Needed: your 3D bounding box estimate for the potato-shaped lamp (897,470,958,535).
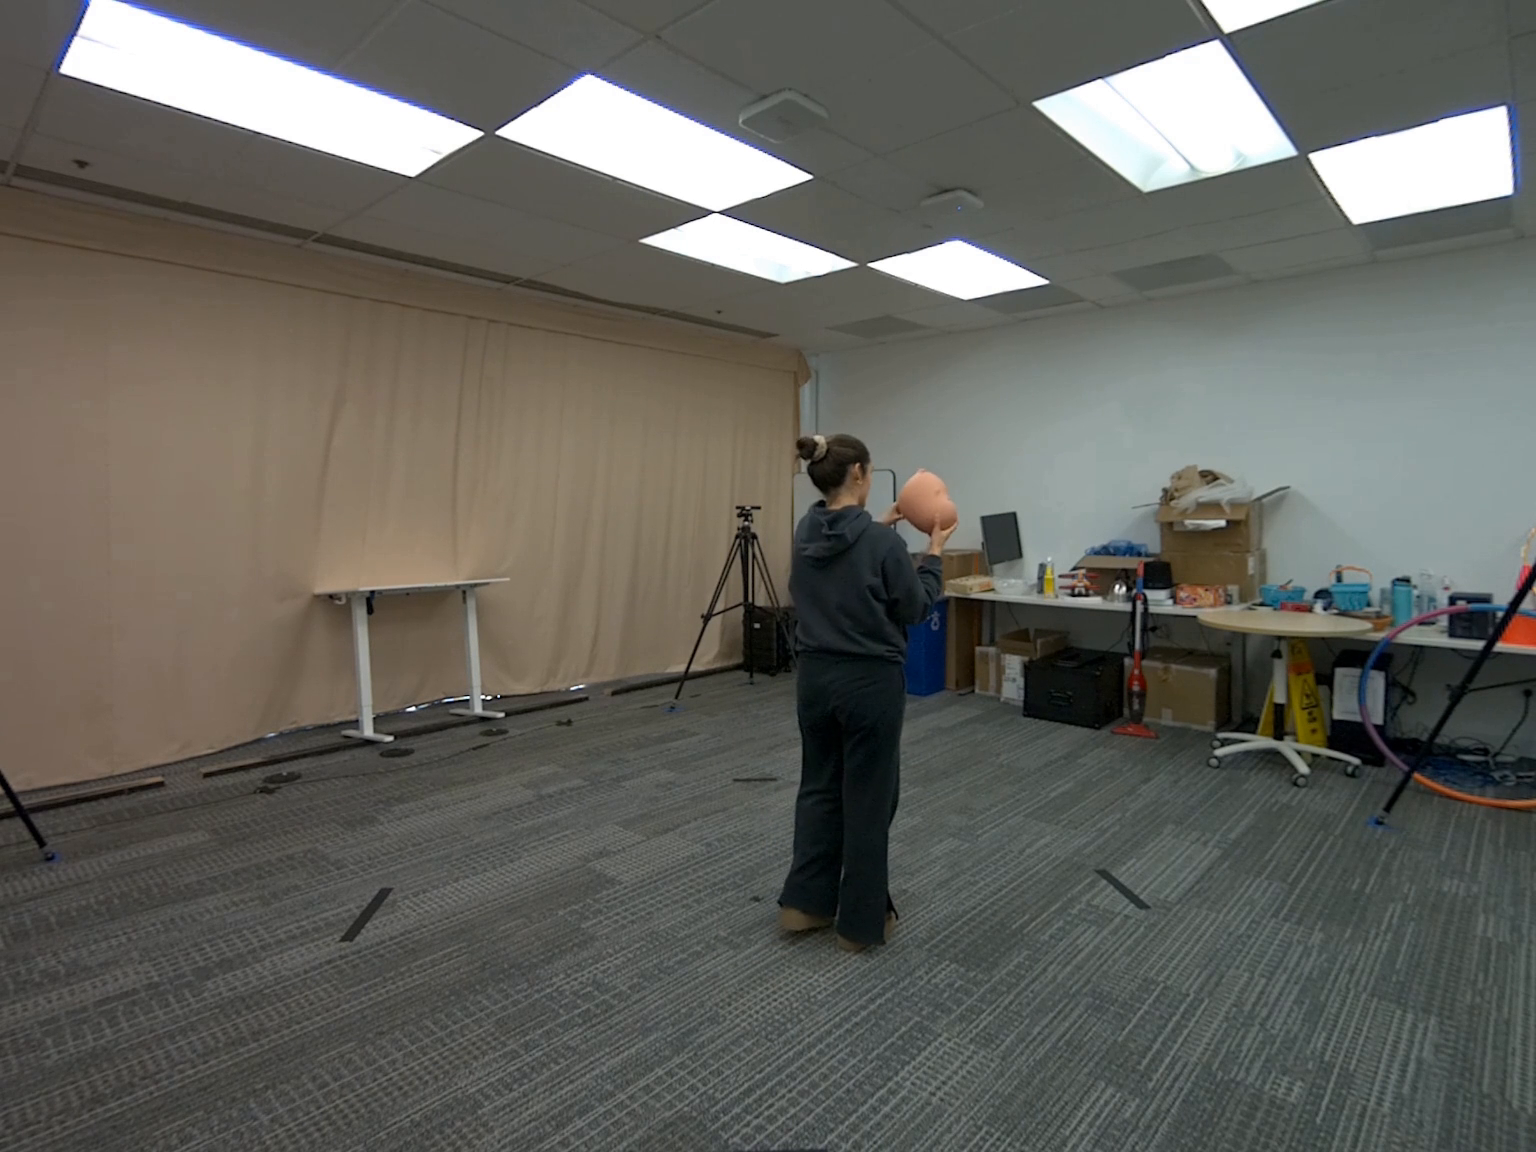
[{"bbox_3d":[0.544,-0.240,2.767,0.204,0.172,0.159,48,10,30],"label":"potato-shaped lamp"}]
